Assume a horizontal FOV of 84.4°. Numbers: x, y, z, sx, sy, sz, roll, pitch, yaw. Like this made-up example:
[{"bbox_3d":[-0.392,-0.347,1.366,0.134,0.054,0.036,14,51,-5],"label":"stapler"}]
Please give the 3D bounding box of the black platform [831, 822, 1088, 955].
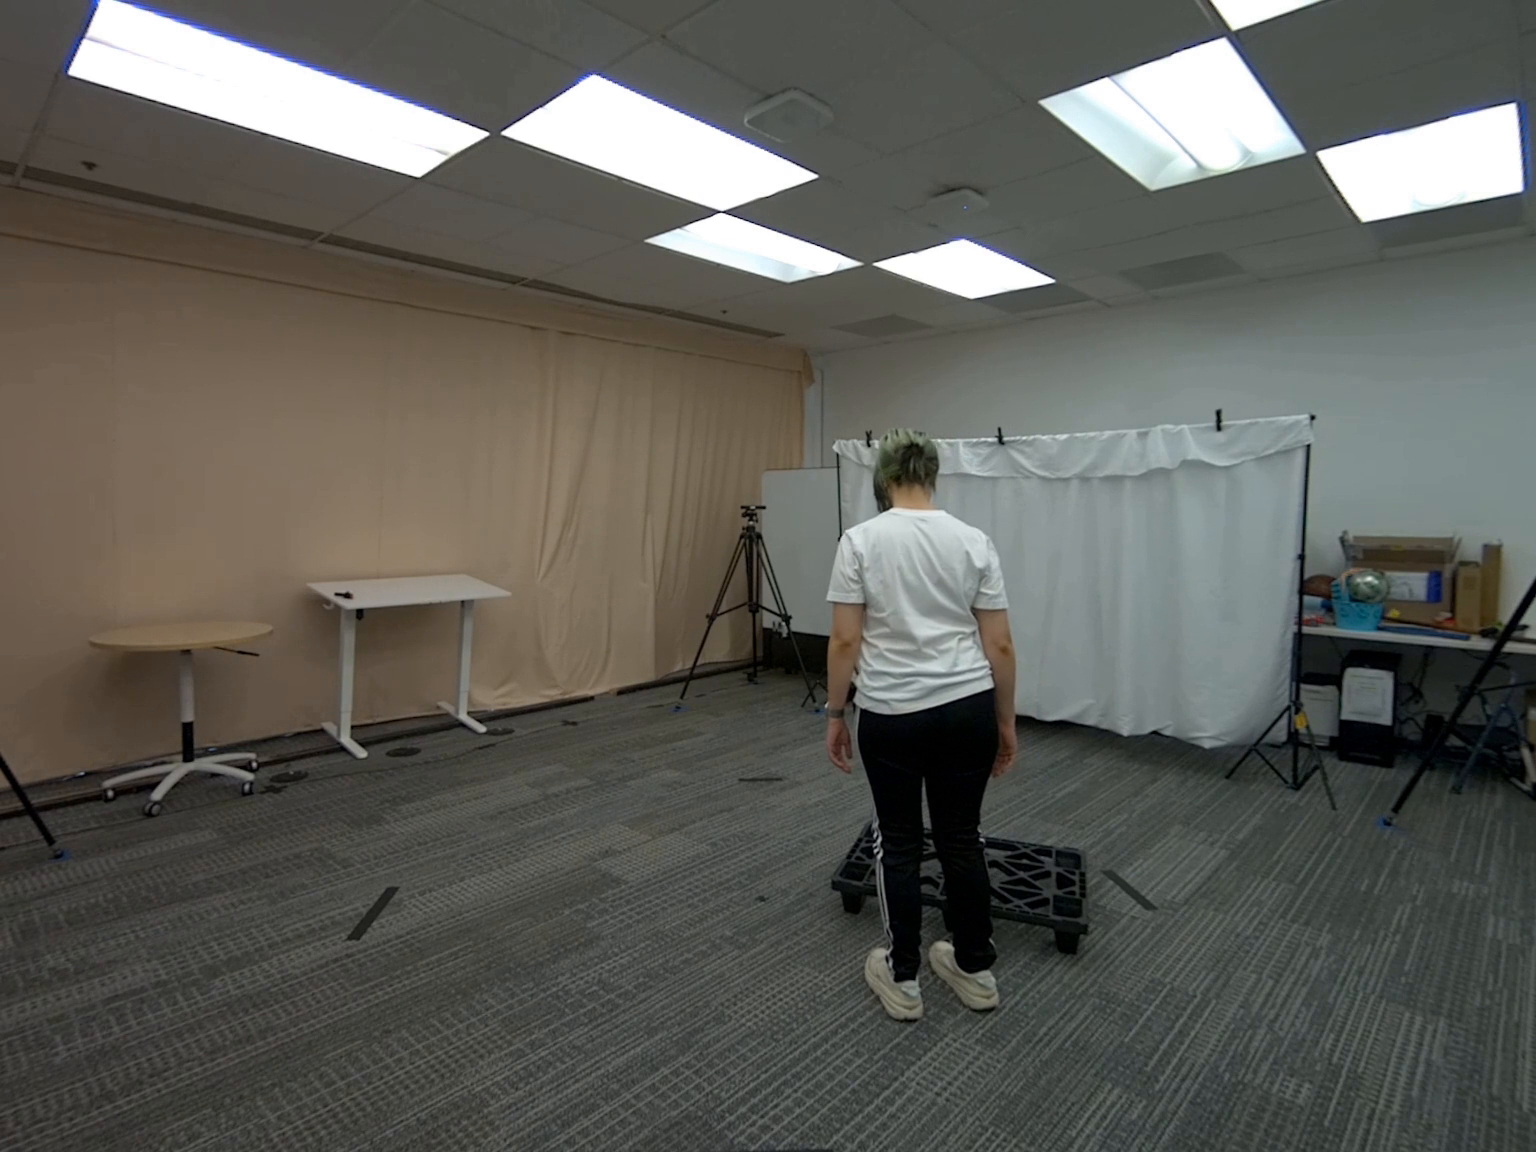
[{"bbox_3d":[0.684,1.073,2.954,0.824,0.143,0.592,2,4,21],"label":"black platform"}]
